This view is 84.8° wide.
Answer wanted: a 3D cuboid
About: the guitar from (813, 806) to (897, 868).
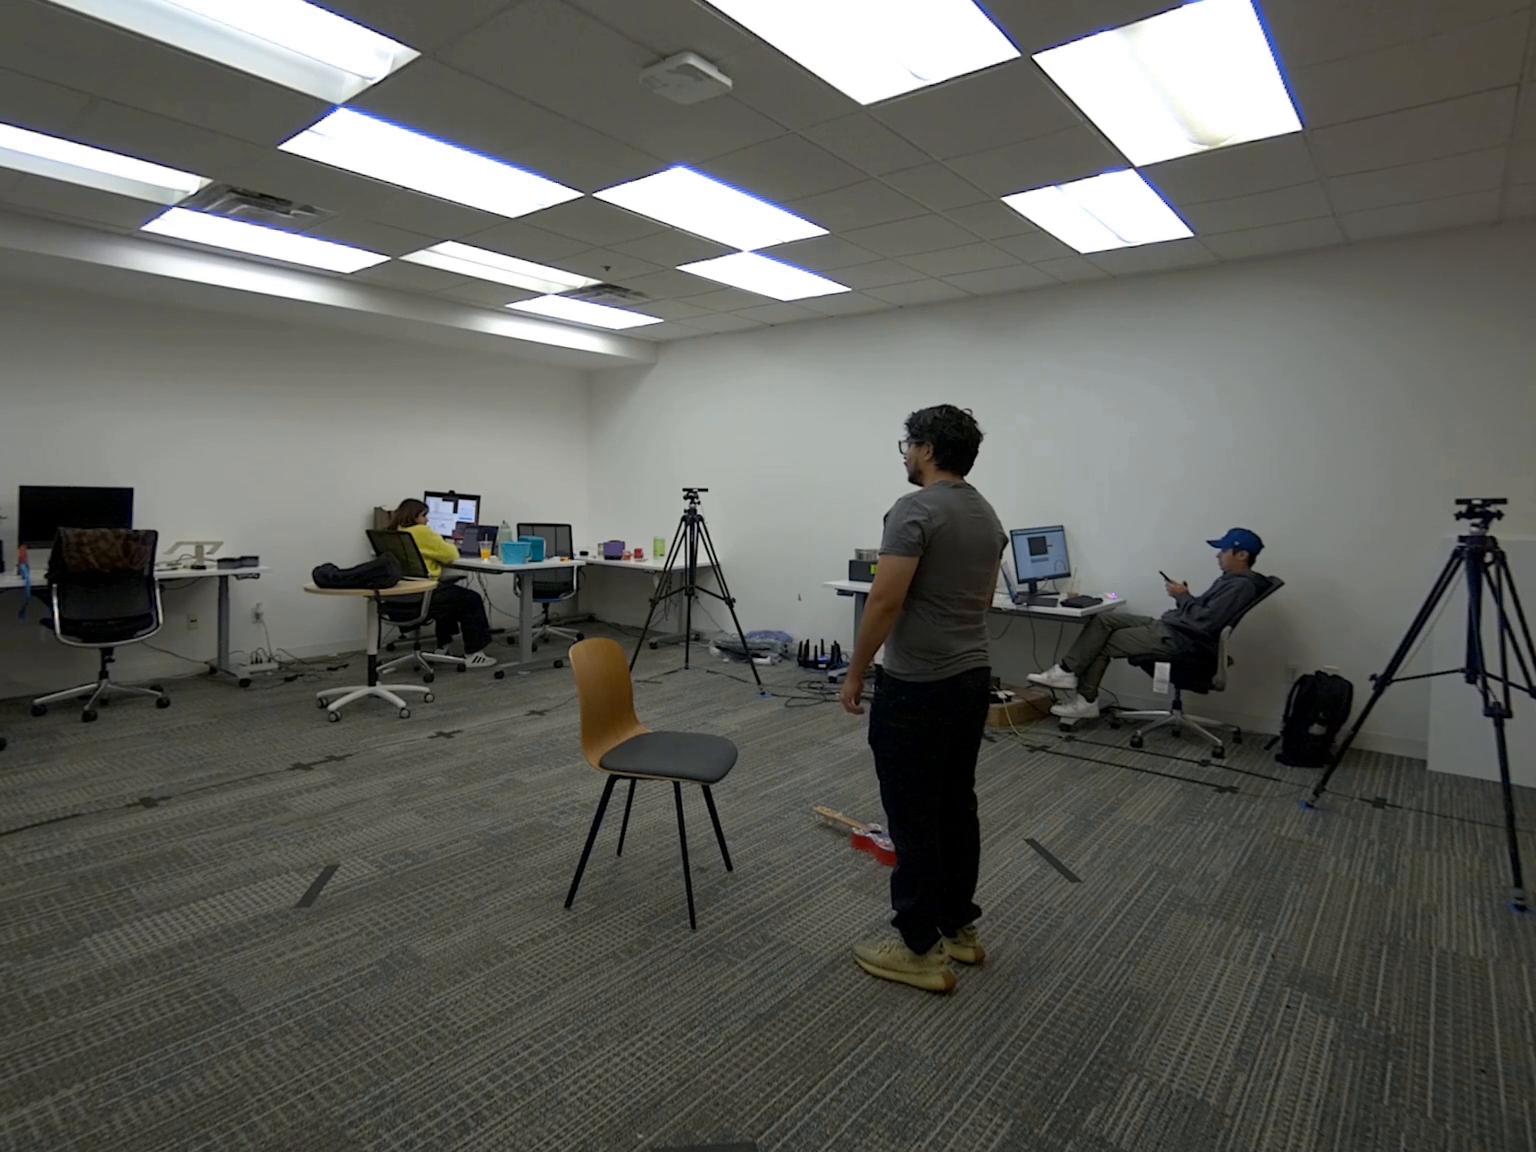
[{"bbox_3d":[0.390,1.023,3.414,0.188,0.070,0.514,-3,7,-33],"label":"guitar"}]
